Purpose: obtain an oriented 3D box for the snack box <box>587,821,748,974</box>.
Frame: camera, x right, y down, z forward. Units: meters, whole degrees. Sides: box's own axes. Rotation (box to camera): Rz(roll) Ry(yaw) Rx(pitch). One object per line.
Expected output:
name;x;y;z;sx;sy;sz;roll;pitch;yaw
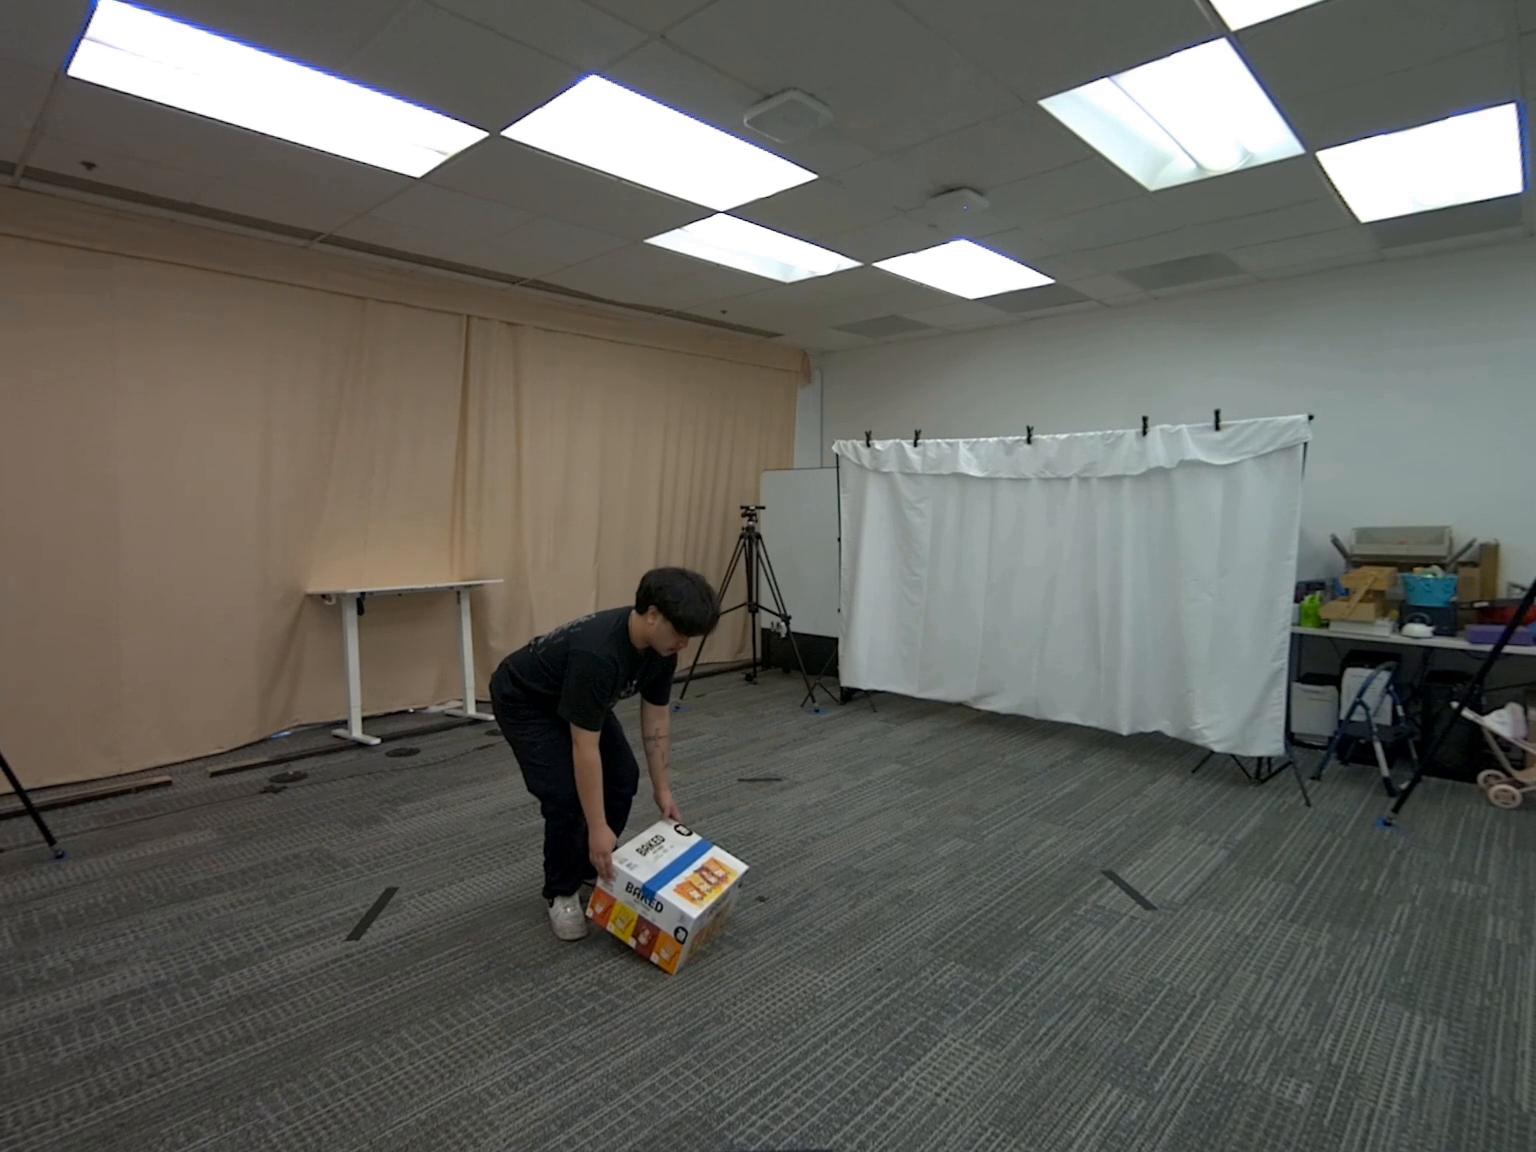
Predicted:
snack box;-0.313;1.015;2.719;0.349;0.205;0.396;24;13;21
